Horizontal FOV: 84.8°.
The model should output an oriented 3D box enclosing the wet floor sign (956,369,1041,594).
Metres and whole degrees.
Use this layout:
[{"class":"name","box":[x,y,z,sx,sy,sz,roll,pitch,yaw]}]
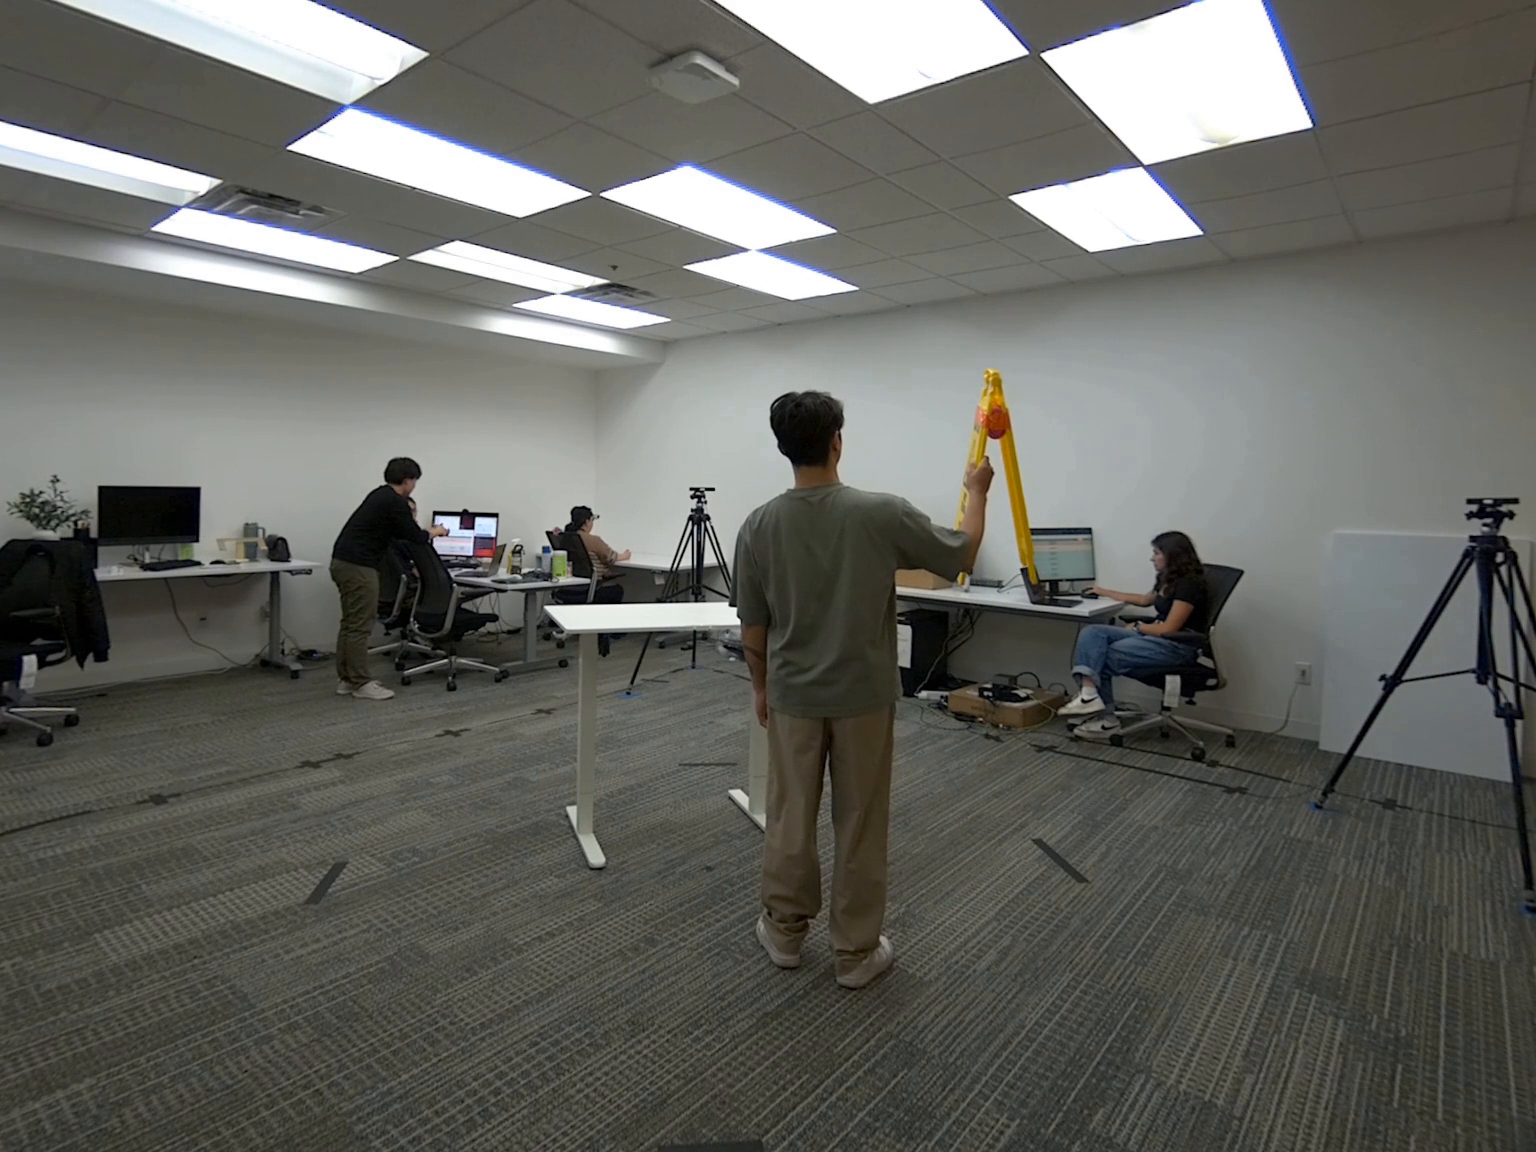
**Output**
[{"class":"wet floor sign","box":[0.703,-0.321,2.673,0.293,0.638,0.282,-1,12,9]}]
